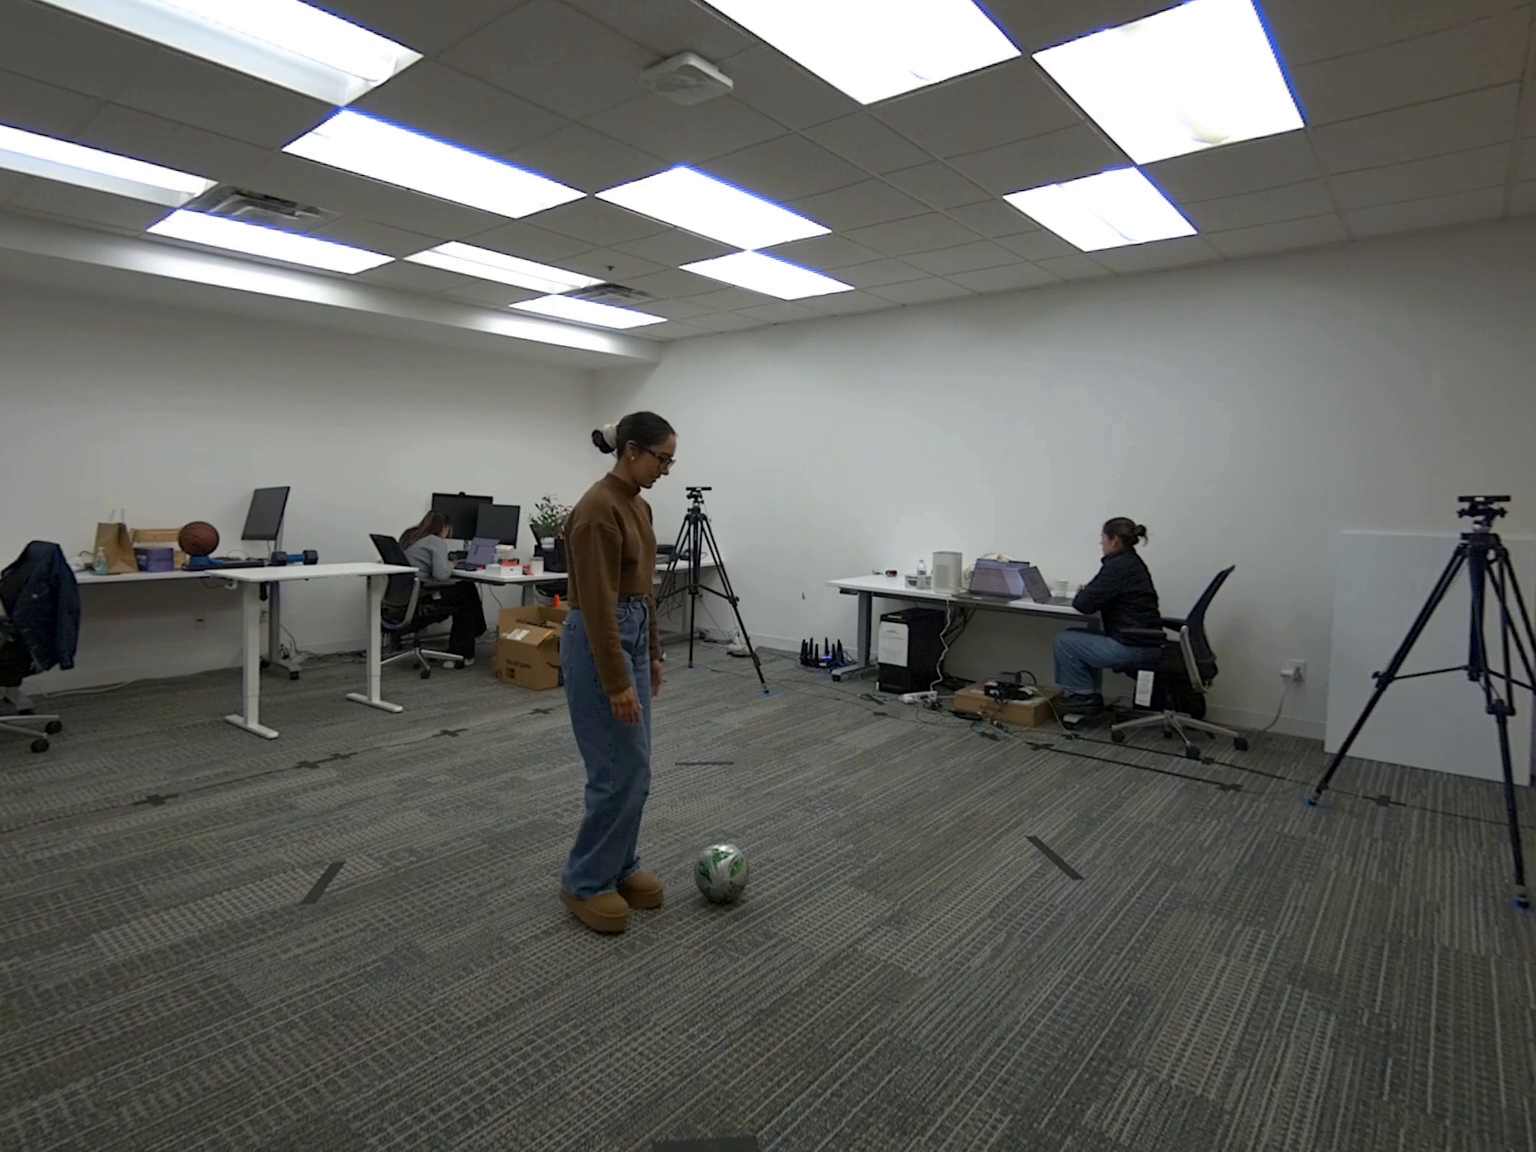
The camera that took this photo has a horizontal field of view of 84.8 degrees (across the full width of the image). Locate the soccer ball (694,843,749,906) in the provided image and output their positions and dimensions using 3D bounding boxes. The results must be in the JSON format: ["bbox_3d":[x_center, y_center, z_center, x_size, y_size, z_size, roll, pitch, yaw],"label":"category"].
[{"bbox_3d":[-0.164,0.994,2.869,0.187,0.187,0.188,1,4,-2],"label":"soccer ball"}]
